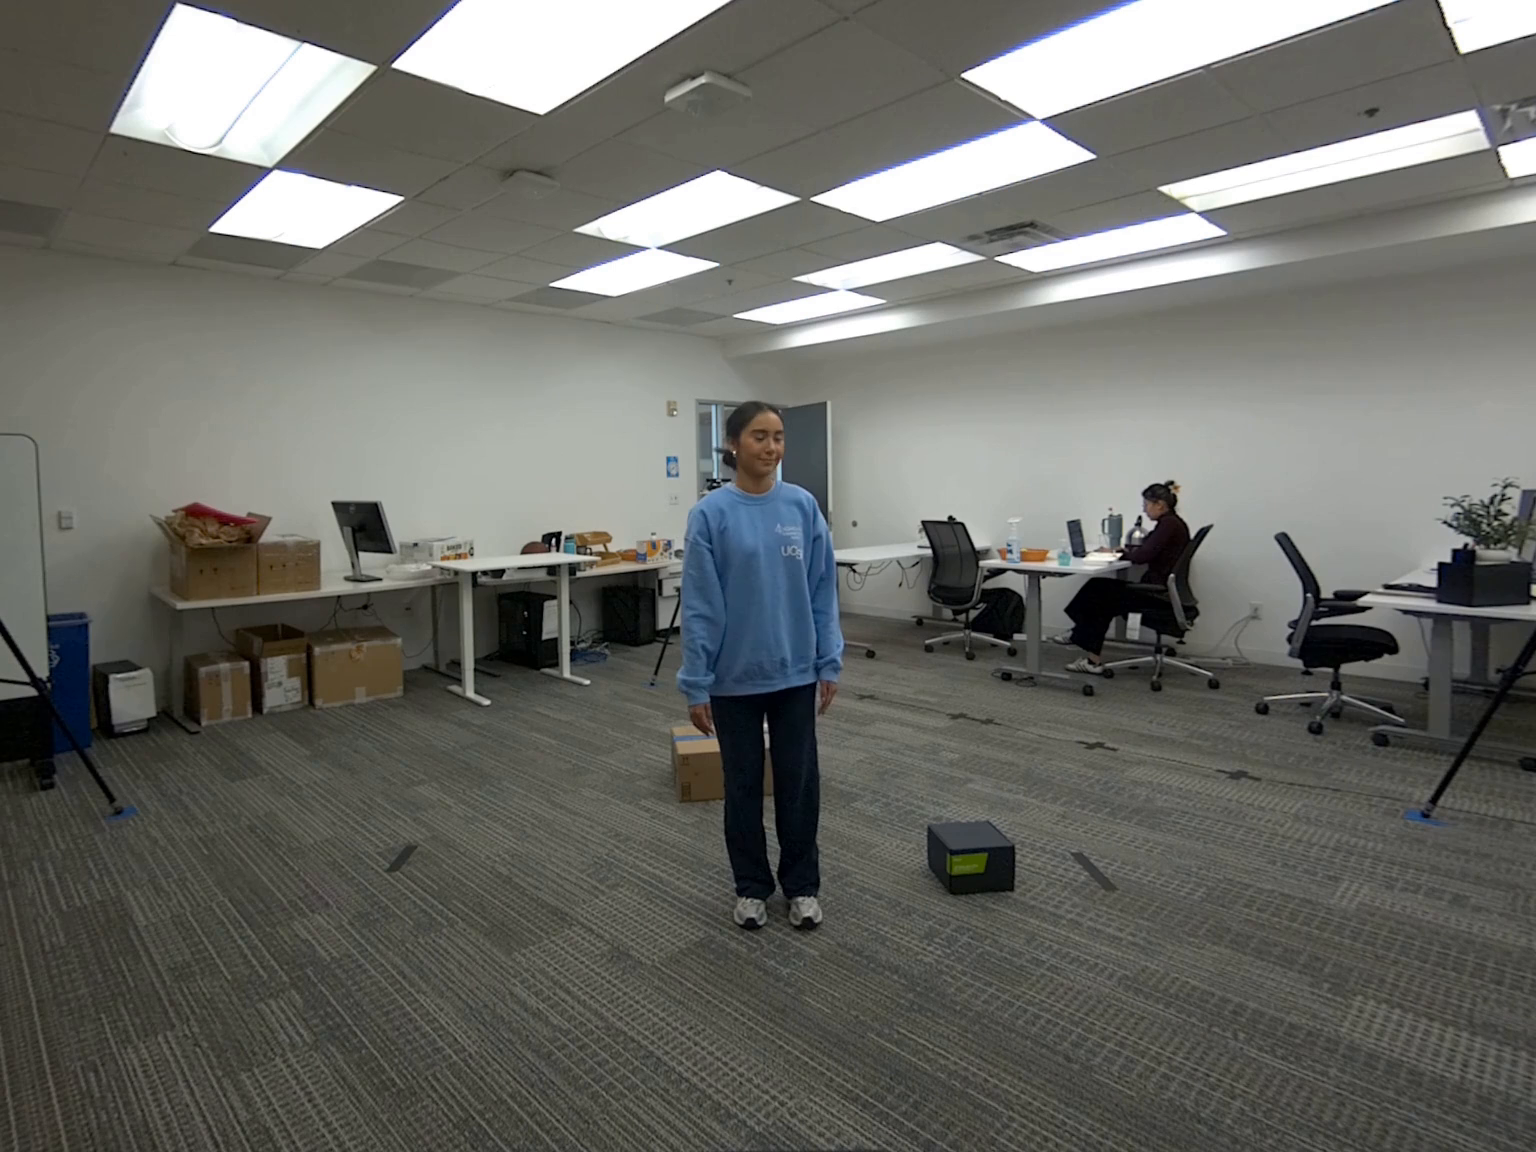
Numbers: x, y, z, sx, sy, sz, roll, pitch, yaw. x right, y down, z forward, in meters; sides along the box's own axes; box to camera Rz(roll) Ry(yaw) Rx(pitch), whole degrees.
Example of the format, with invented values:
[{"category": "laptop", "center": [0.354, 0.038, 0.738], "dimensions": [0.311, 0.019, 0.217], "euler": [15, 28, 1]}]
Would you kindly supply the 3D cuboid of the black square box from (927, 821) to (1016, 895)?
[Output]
[{"category": "black square box", "center": [0.704, 0.964, 2.951], "dimensions": [0.226, 0.155, 0.219], "euler": [-2, 5, -9]}]
